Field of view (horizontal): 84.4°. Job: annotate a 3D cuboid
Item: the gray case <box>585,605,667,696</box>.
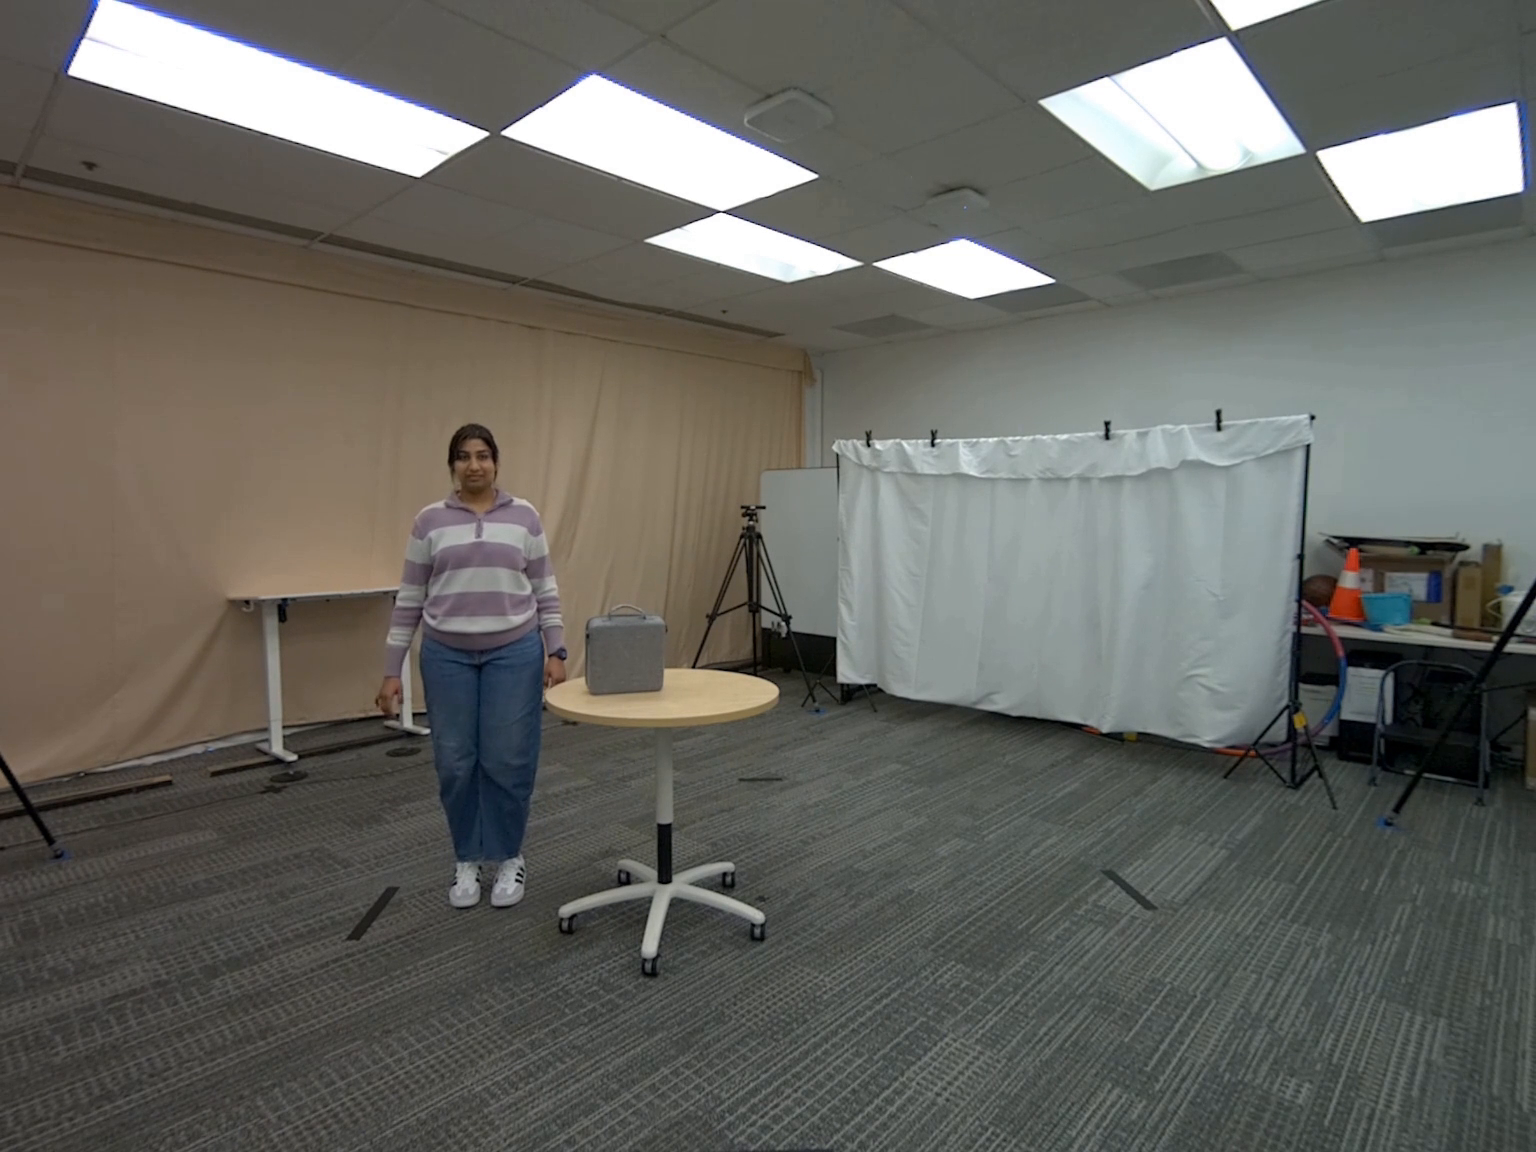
[{"bbox_3d":[-0.465,0.253,2.751,0.253,0.259,0.107,-2,13,-15],"label":"gray case"}]
